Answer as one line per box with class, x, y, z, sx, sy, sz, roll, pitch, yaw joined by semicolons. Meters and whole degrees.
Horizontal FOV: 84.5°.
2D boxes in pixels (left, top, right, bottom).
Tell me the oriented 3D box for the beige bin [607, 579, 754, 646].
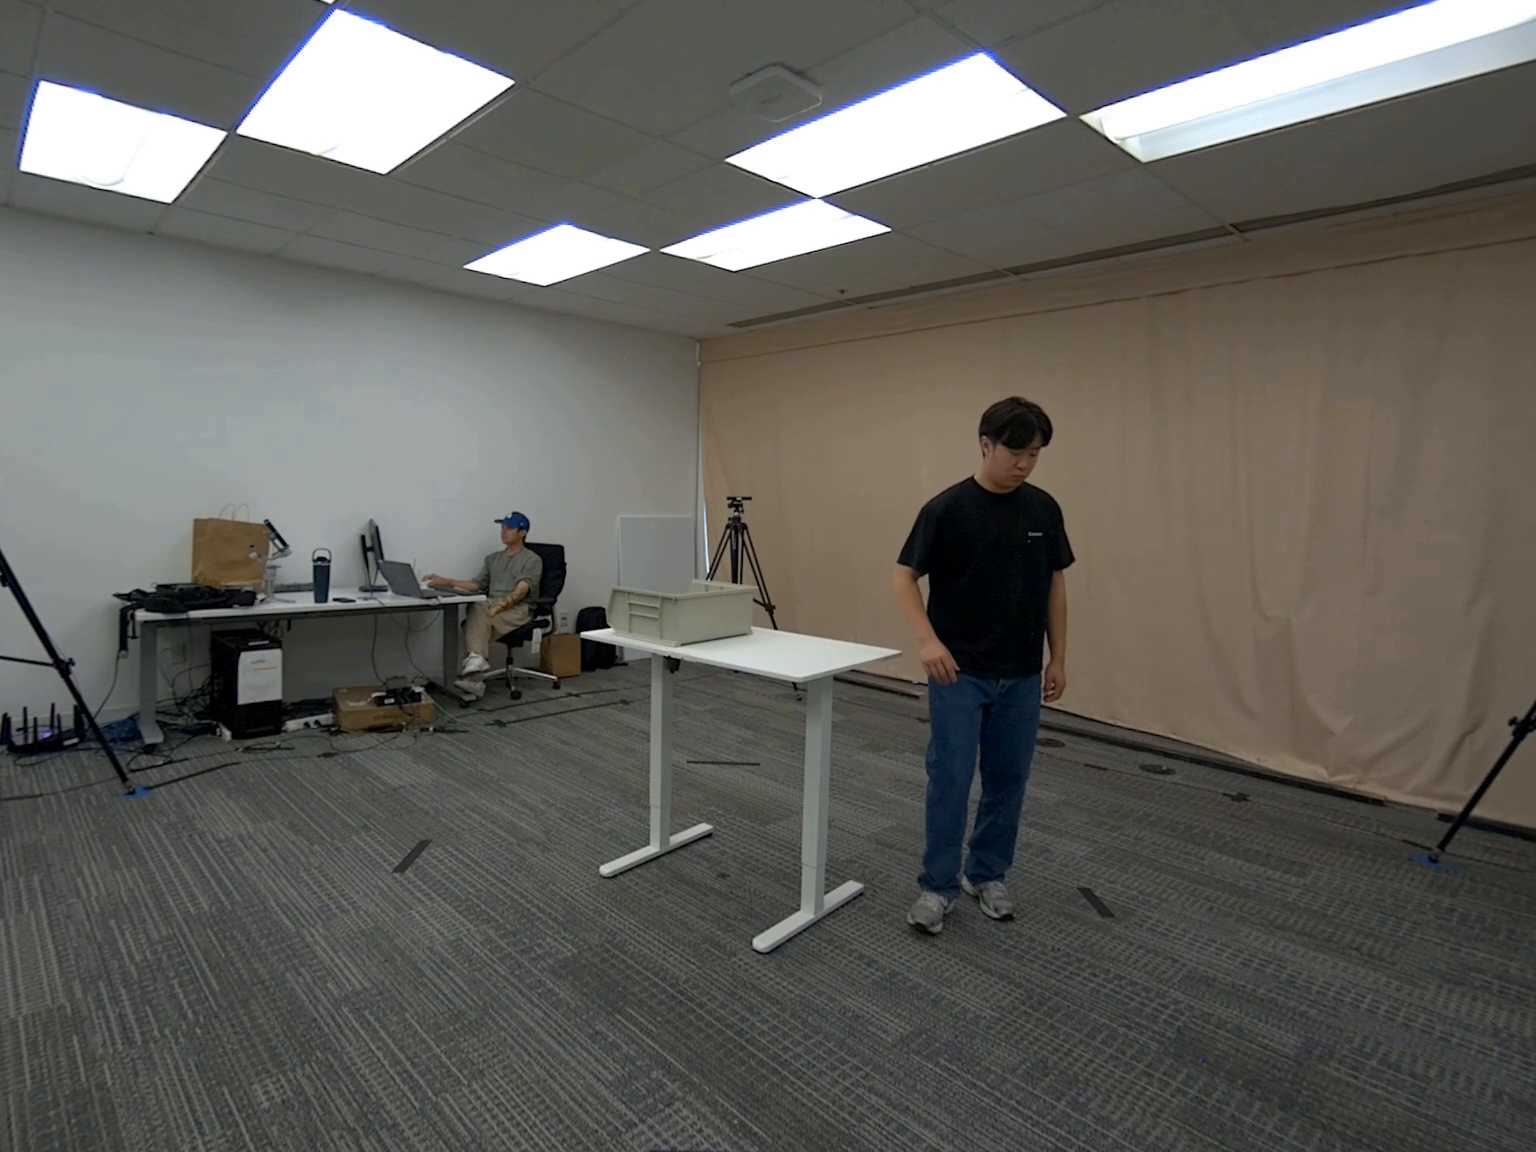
beige bin;-0.325;0.133;3.108;0.387;0.188;0.413;8;8;42
